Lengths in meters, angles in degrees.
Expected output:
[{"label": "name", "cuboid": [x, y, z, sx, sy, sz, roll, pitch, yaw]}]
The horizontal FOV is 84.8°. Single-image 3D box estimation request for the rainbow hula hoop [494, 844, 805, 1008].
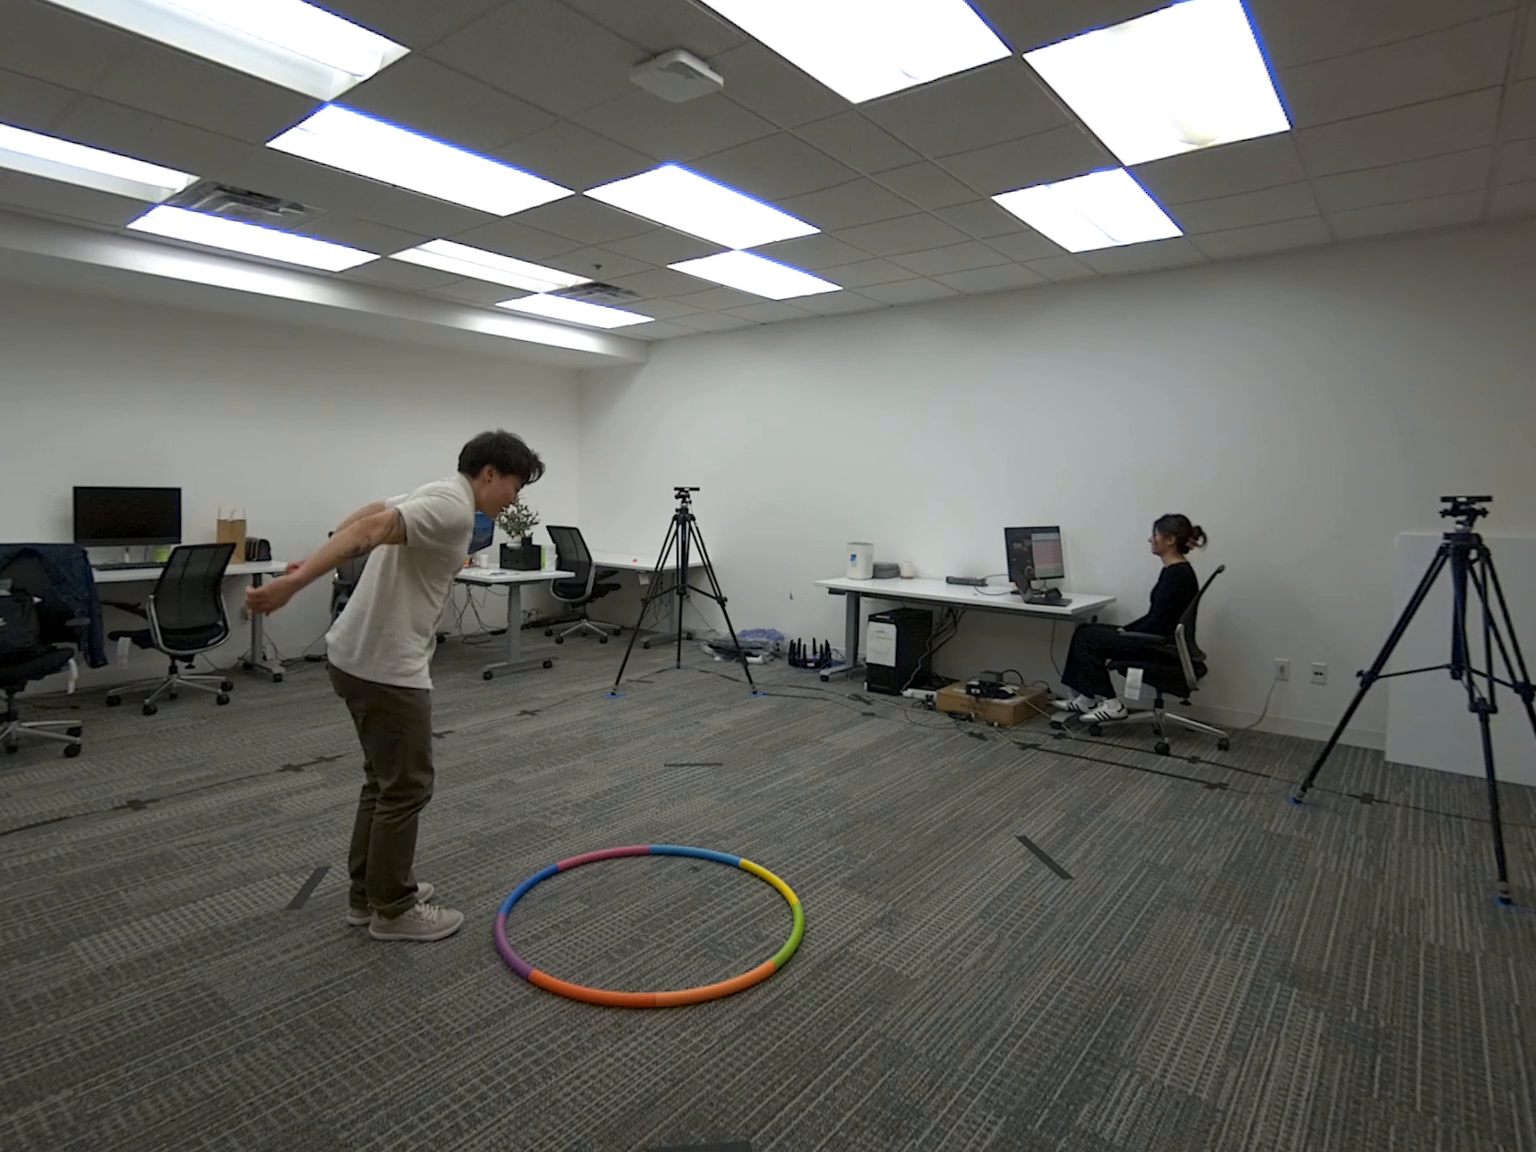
[{"label": "rainbow hula hoop", "cuboid": [-0.386, 1.070, 2.749, 0.978, 0.035, 0.984, 0, 6, -2]}]
